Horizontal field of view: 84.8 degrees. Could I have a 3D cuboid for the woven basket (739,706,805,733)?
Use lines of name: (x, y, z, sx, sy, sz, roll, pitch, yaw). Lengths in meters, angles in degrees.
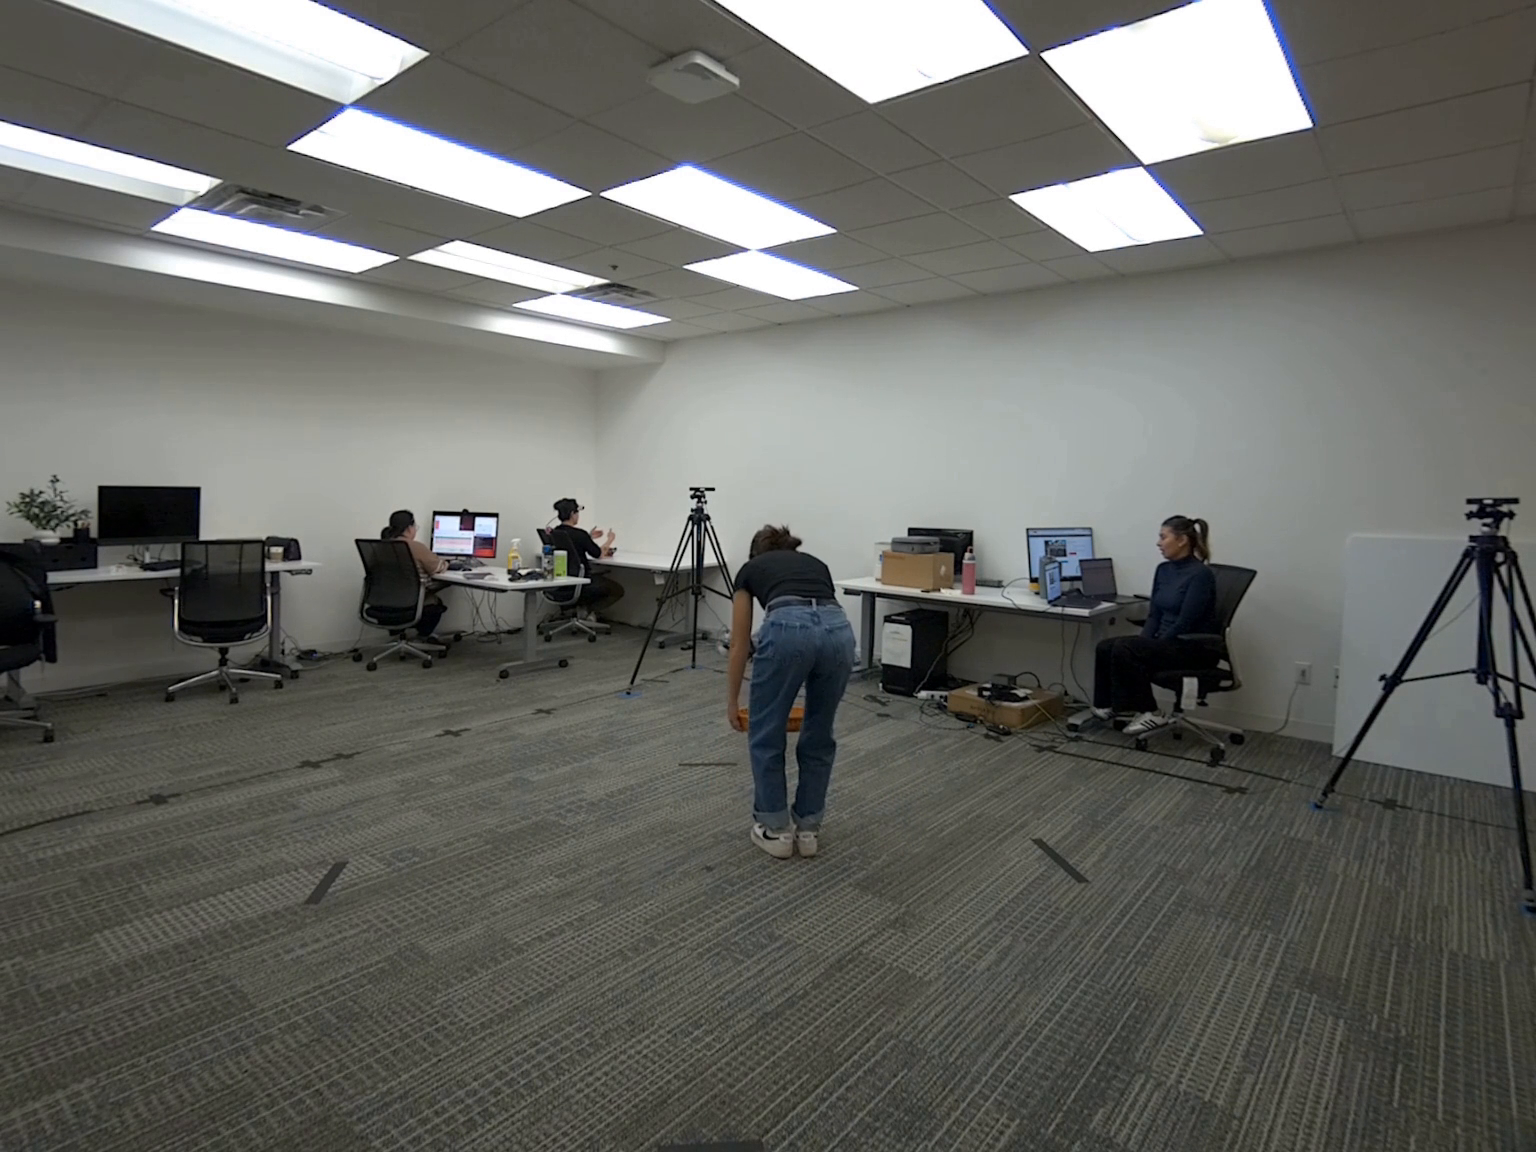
woven basket: (0.011, 0.597, 3.514, 0.346, 0.073, 0.255, 1, 1, -11)
